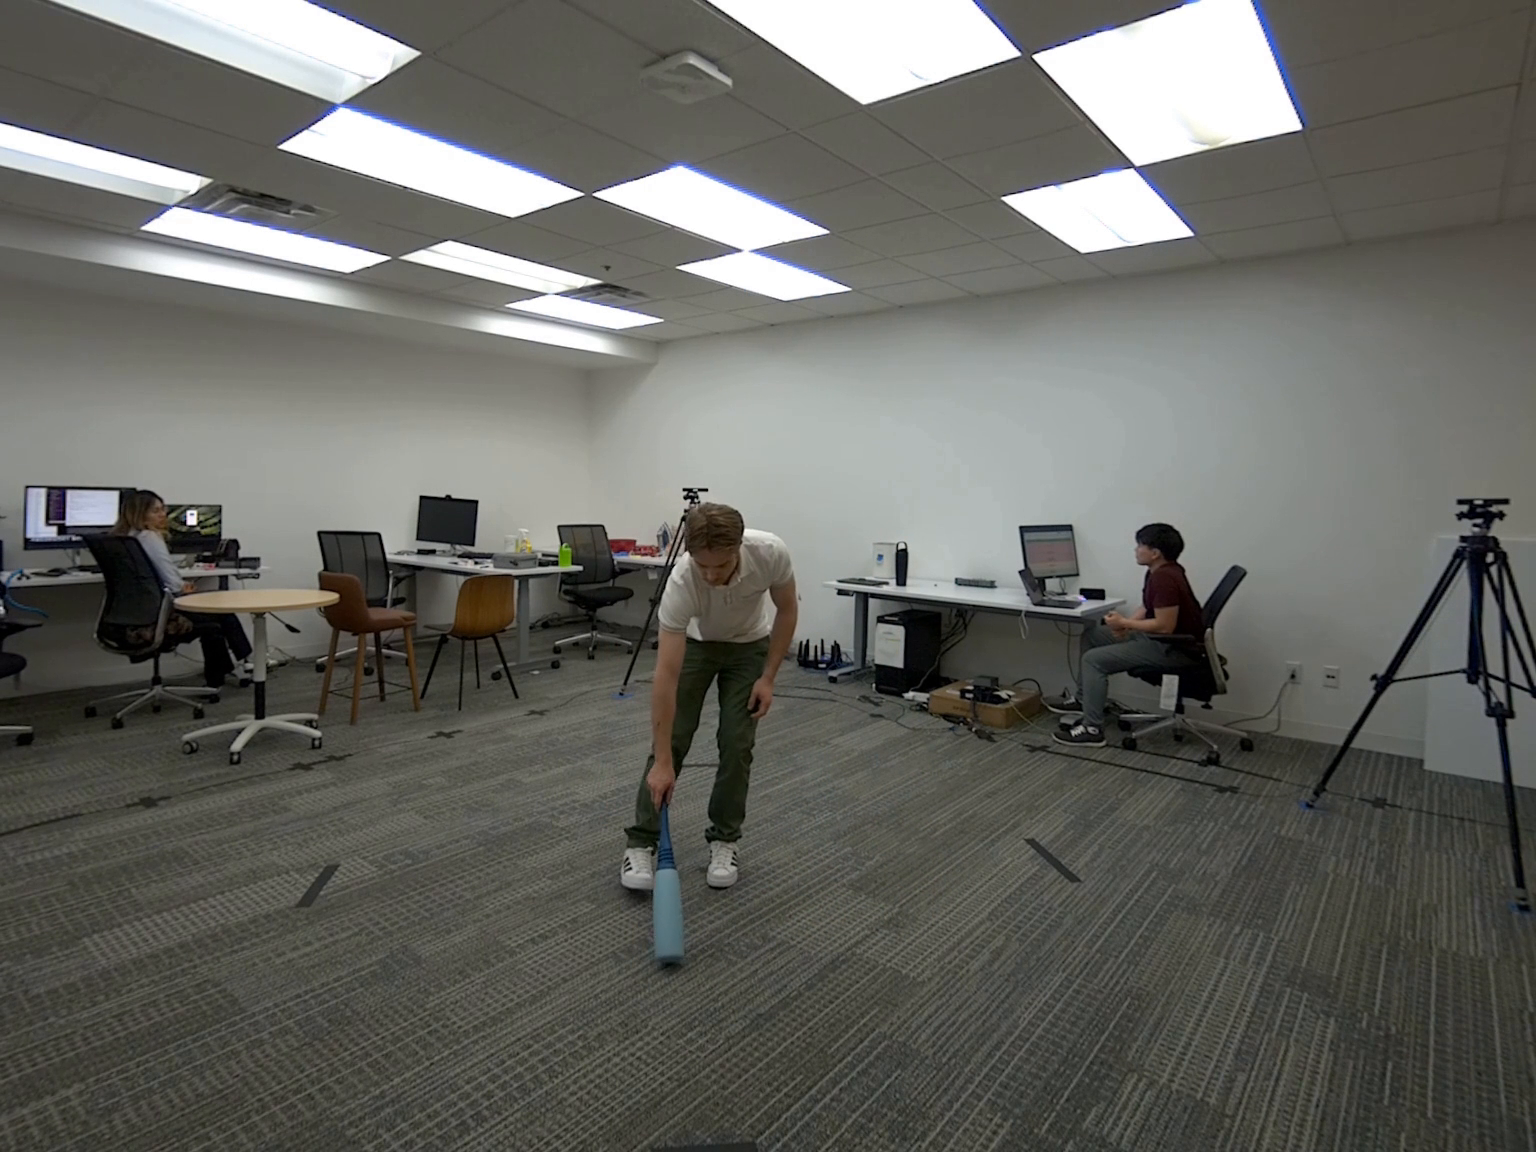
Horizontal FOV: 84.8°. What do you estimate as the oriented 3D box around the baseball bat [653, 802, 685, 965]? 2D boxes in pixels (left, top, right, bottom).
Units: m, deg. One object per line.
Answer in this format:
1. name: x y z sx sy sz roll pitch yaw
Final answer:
1. baseball bat: -0.318 0.897 2.622 0.089 0.560 0.086 -4 -38 -5
